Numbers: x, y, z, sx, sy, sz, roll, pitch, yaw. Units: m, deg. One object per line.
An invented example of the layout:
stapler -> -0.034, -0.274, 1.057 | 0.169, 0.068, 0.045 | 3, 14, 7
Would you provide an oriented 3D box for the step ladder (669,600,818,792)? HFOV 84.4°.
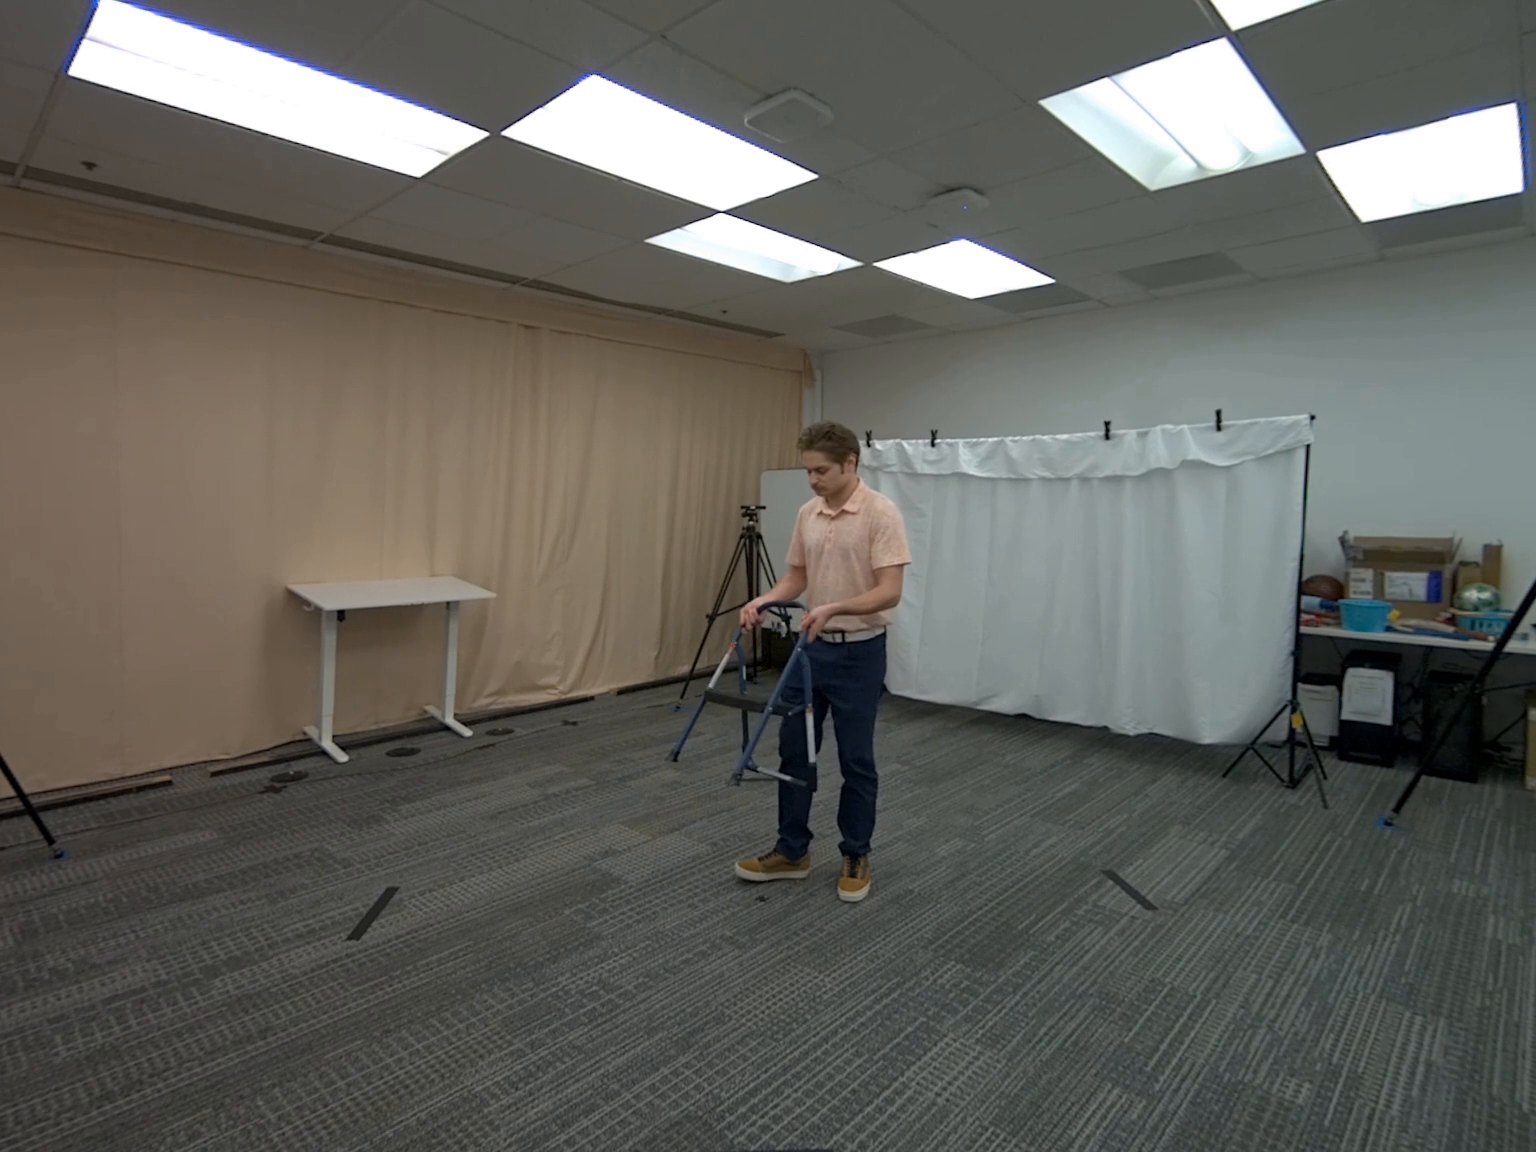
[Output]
step ladder -> -0.040, 0.374, 2.854 | 0.338, 0.608, 0.443 | 15, -10, -32
